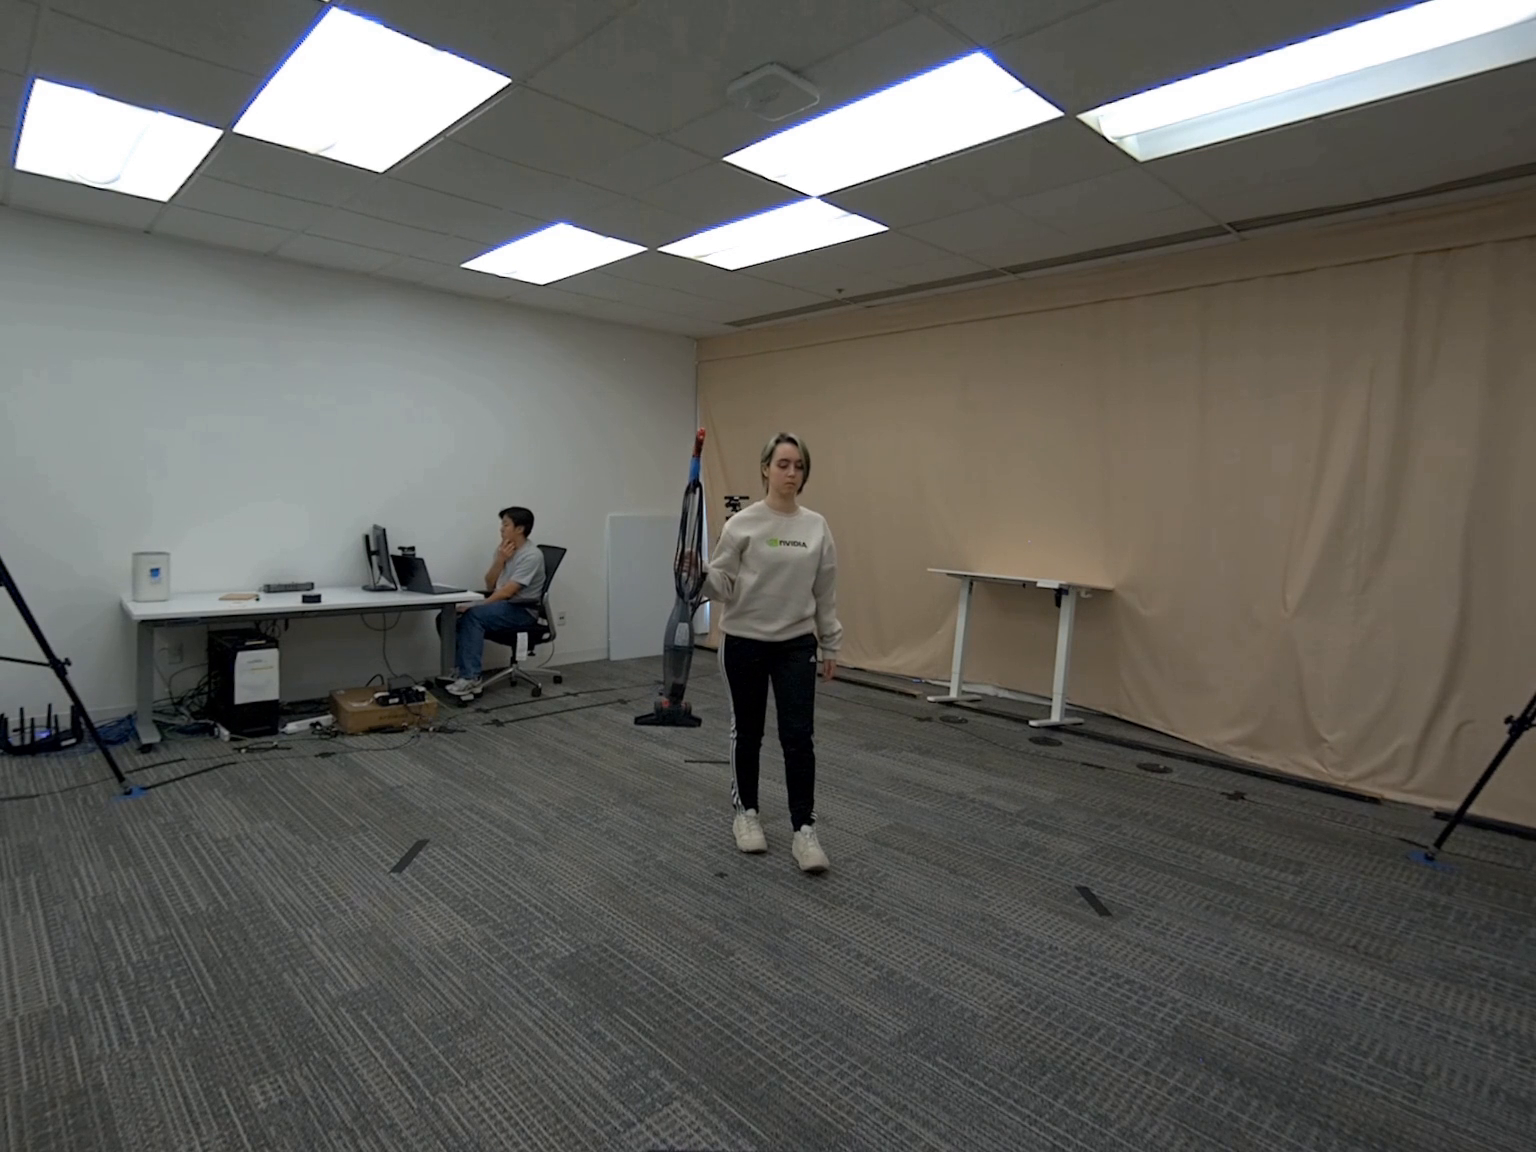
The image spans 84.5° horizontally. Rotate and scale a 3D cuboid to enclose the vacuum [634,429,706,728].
[{"bbox_3d":[-0.307,0.002,3.060,0.248,1.047,0.147,6,4,-21],"label":"vacuum"}]
